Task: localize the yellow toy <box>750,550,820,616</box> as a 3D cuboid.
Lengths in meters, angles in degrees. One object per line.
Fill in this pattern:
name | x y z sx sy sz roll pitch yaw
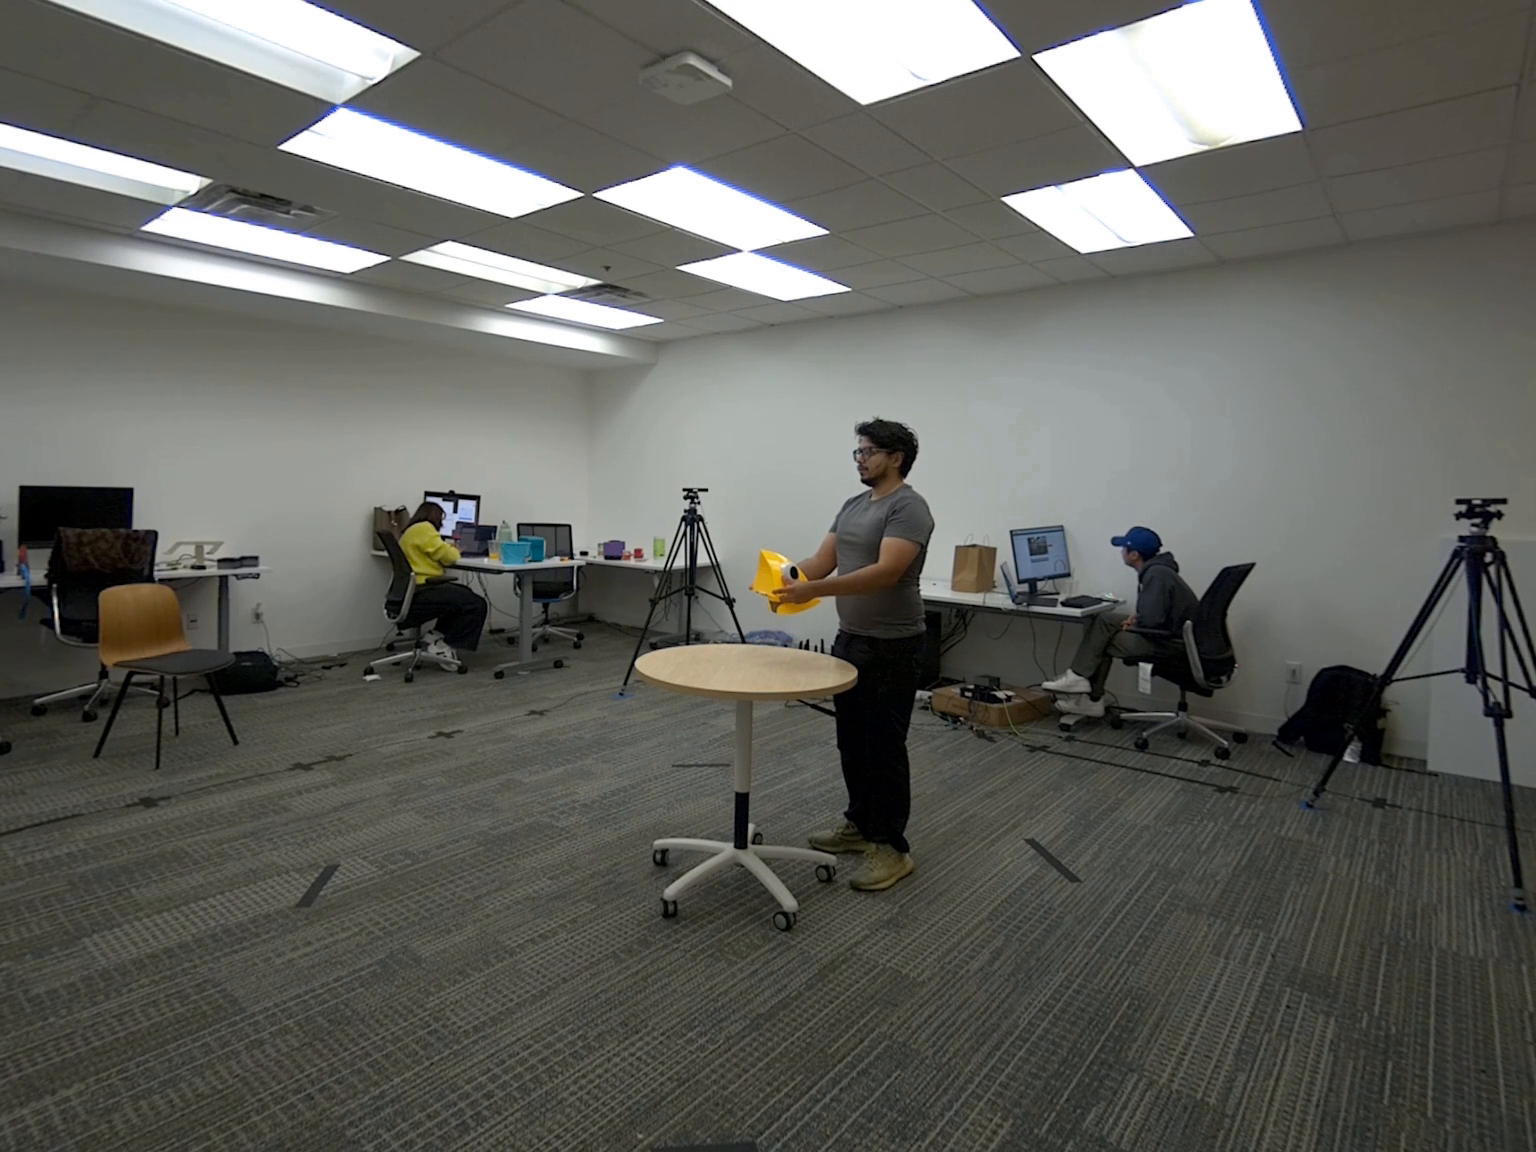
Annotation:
yellow toy | 0.047 -0.001 3.009 0.190 0.228 0.210 -17 12 -22
